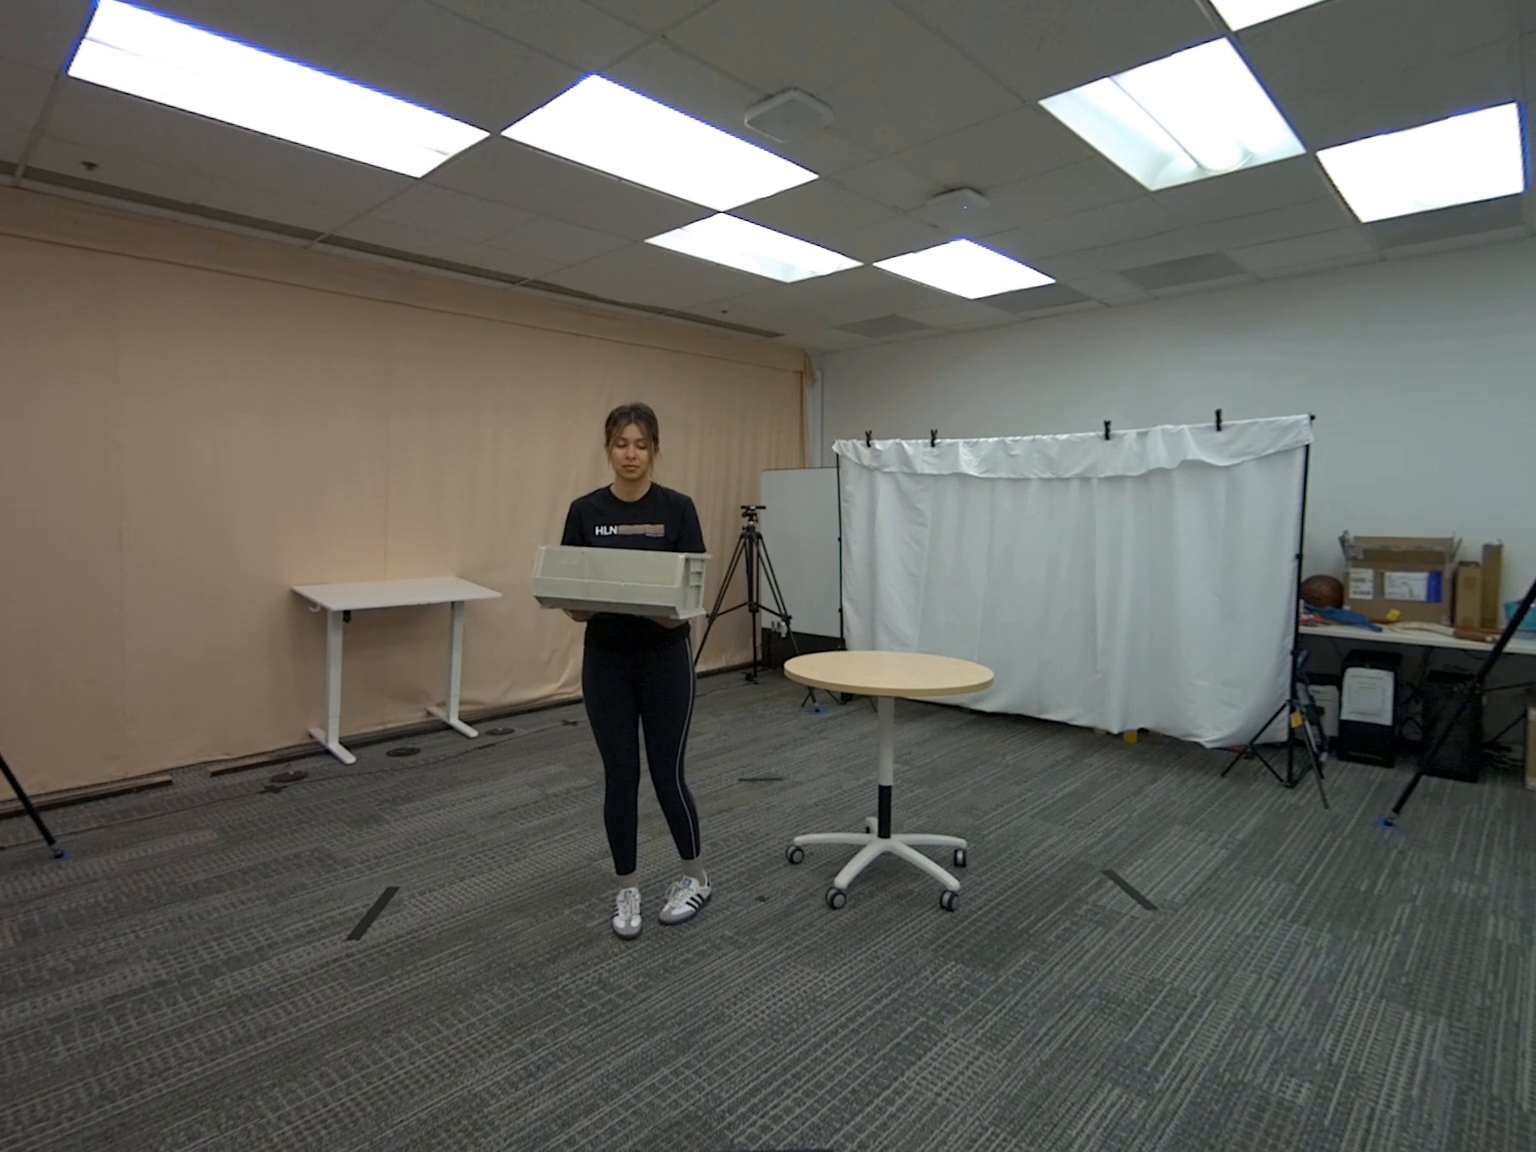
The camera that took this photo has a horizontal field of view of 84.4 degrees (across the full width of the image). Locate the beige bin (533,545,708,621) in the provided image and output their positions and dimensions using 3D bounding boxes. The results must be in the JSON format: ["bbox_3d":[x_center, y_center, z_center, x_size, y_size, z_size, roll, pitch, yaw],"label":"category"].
[{"bbox_3d":[-0.408,0.019,2.436,0.428,0.189,0.372,3,0,11],"label":"beige bin"}]
